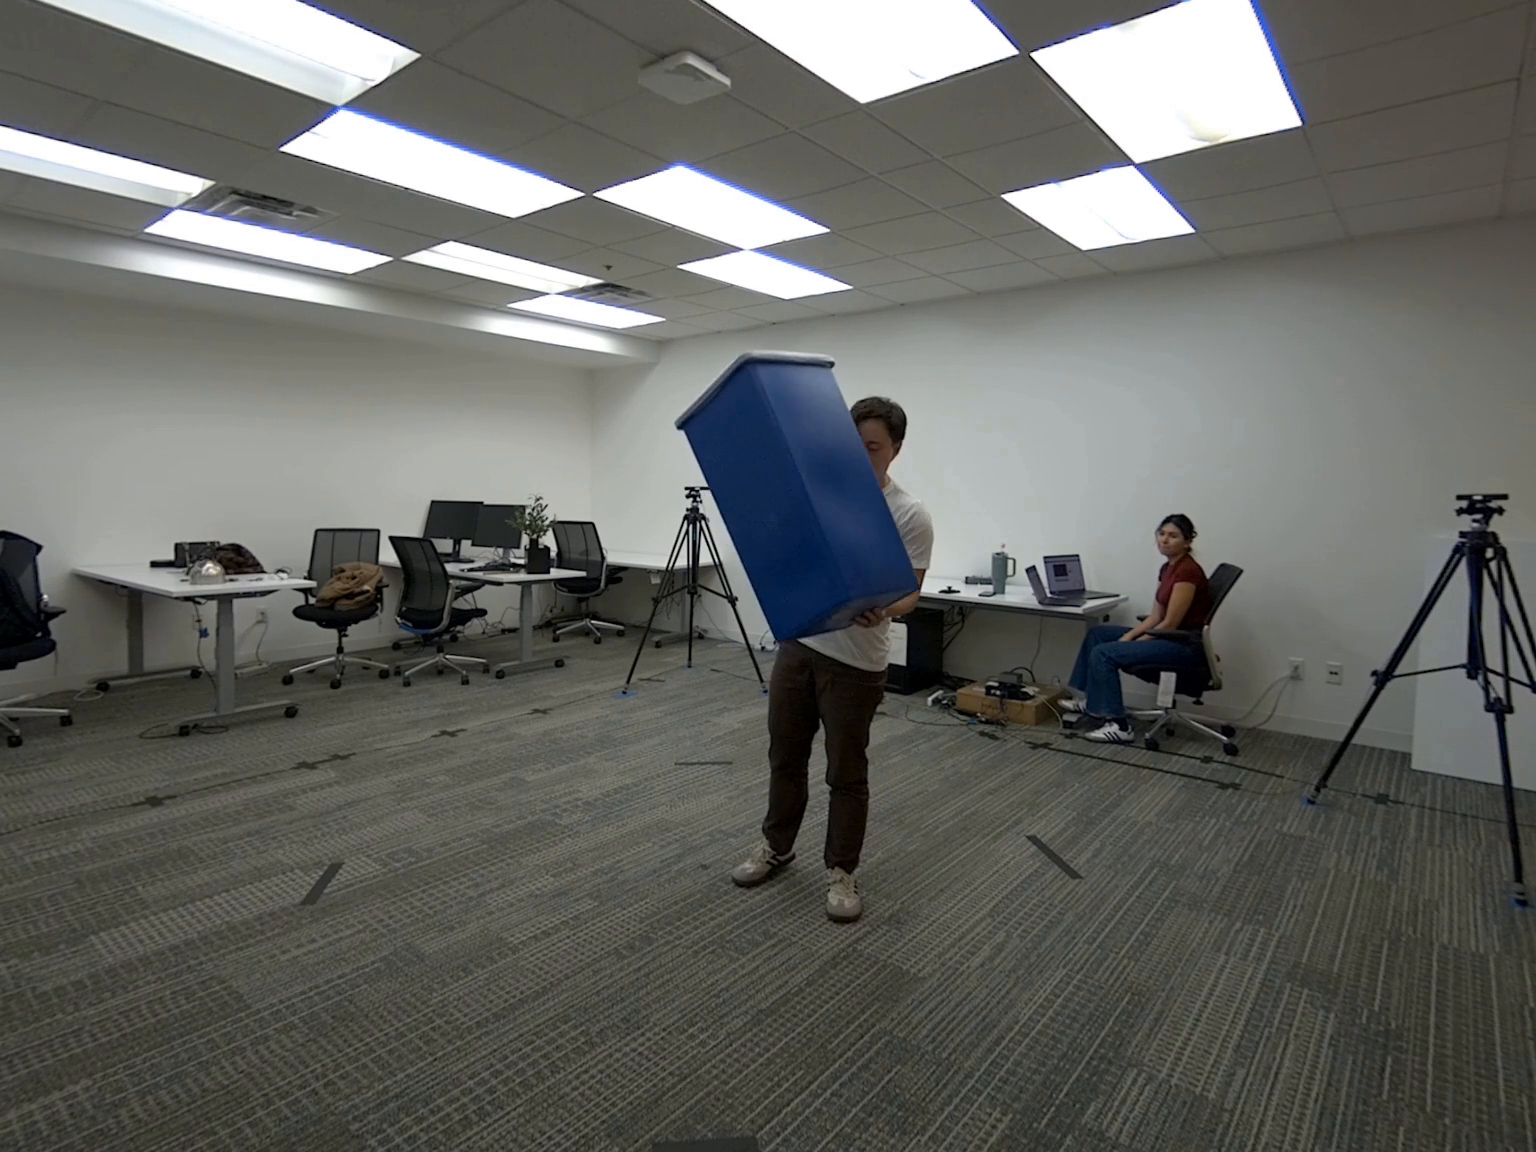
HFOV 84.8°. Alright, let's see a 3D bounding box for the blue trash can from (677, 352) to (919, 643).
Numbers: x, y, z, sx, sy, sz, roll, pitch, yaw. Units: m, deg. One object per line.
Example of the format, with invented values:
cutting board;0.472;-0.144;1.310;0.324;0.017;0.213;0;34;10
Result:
blue trash can;0.072;-0.221;2.372;0.367;0.728;0.377;-7;-22;-43
